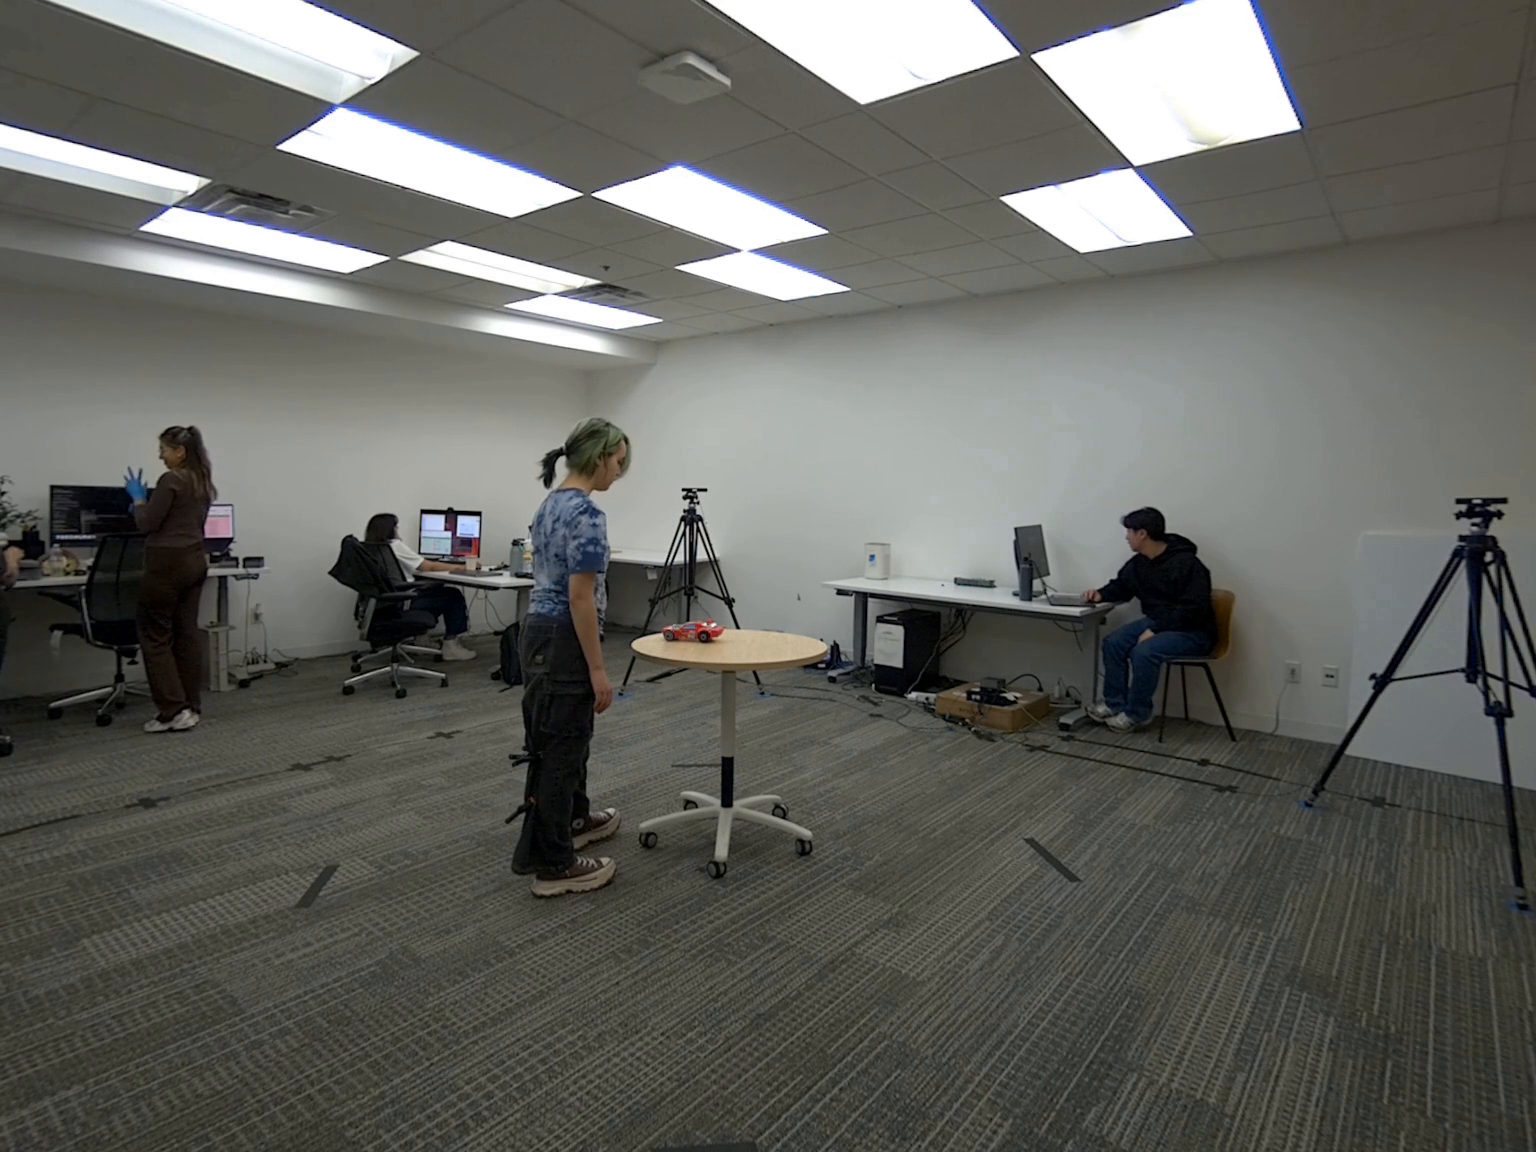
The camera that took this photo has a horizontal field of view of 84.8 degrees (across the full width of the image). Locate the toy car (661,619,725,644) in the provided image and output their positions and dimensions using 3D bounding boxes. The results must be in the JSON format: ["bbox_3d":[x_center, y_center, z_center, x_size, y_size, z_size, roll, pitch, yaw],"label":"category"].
[{"bbox_3d":[-0.306,0.224,3.426,0.257,0.083,0.129,-10,2,12],"label":"toy car"}]
